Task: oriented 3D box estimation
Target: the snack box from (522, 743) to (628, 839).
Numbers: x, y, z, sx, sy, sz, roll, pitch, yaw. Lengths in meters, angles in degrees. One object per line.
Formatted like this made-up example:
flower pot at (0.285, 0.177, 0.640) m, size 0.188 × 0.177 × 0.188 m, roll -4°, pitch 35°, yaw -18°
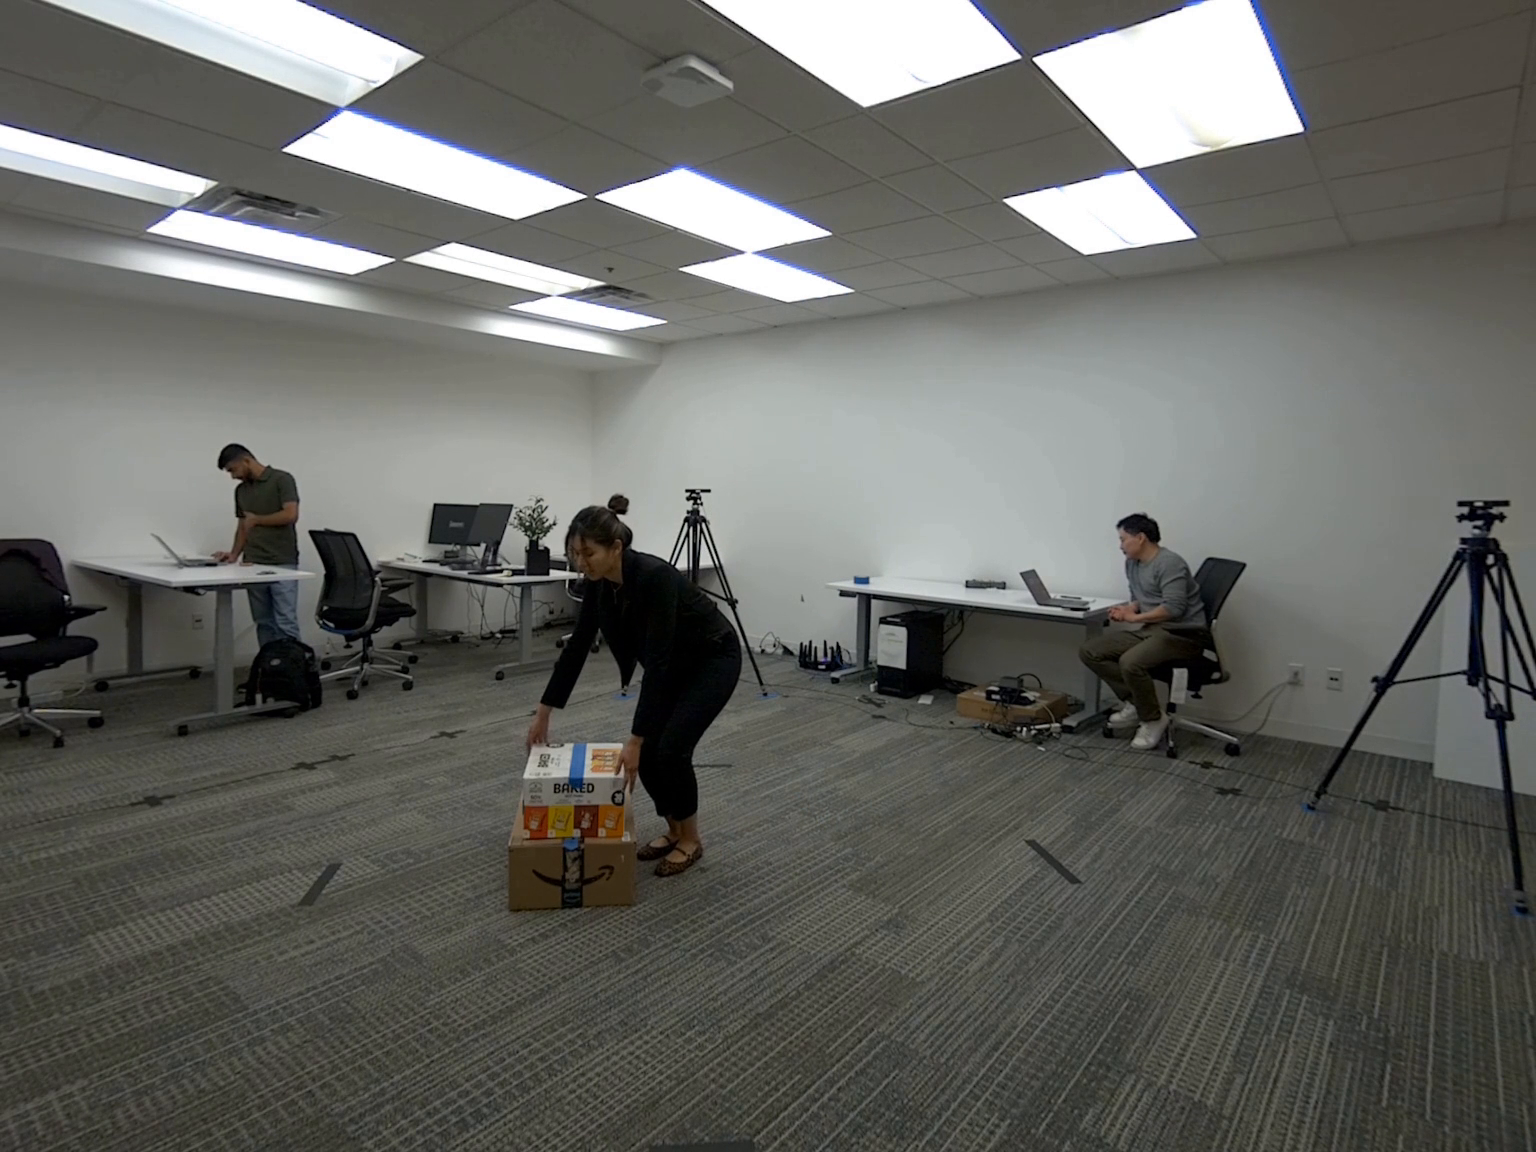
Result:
snack box at (-0.697, 0.755, 3.042) m, size 0.337 × 0.205 × 0.410 m, roll 1°, pitch 5°, yaw -10°
